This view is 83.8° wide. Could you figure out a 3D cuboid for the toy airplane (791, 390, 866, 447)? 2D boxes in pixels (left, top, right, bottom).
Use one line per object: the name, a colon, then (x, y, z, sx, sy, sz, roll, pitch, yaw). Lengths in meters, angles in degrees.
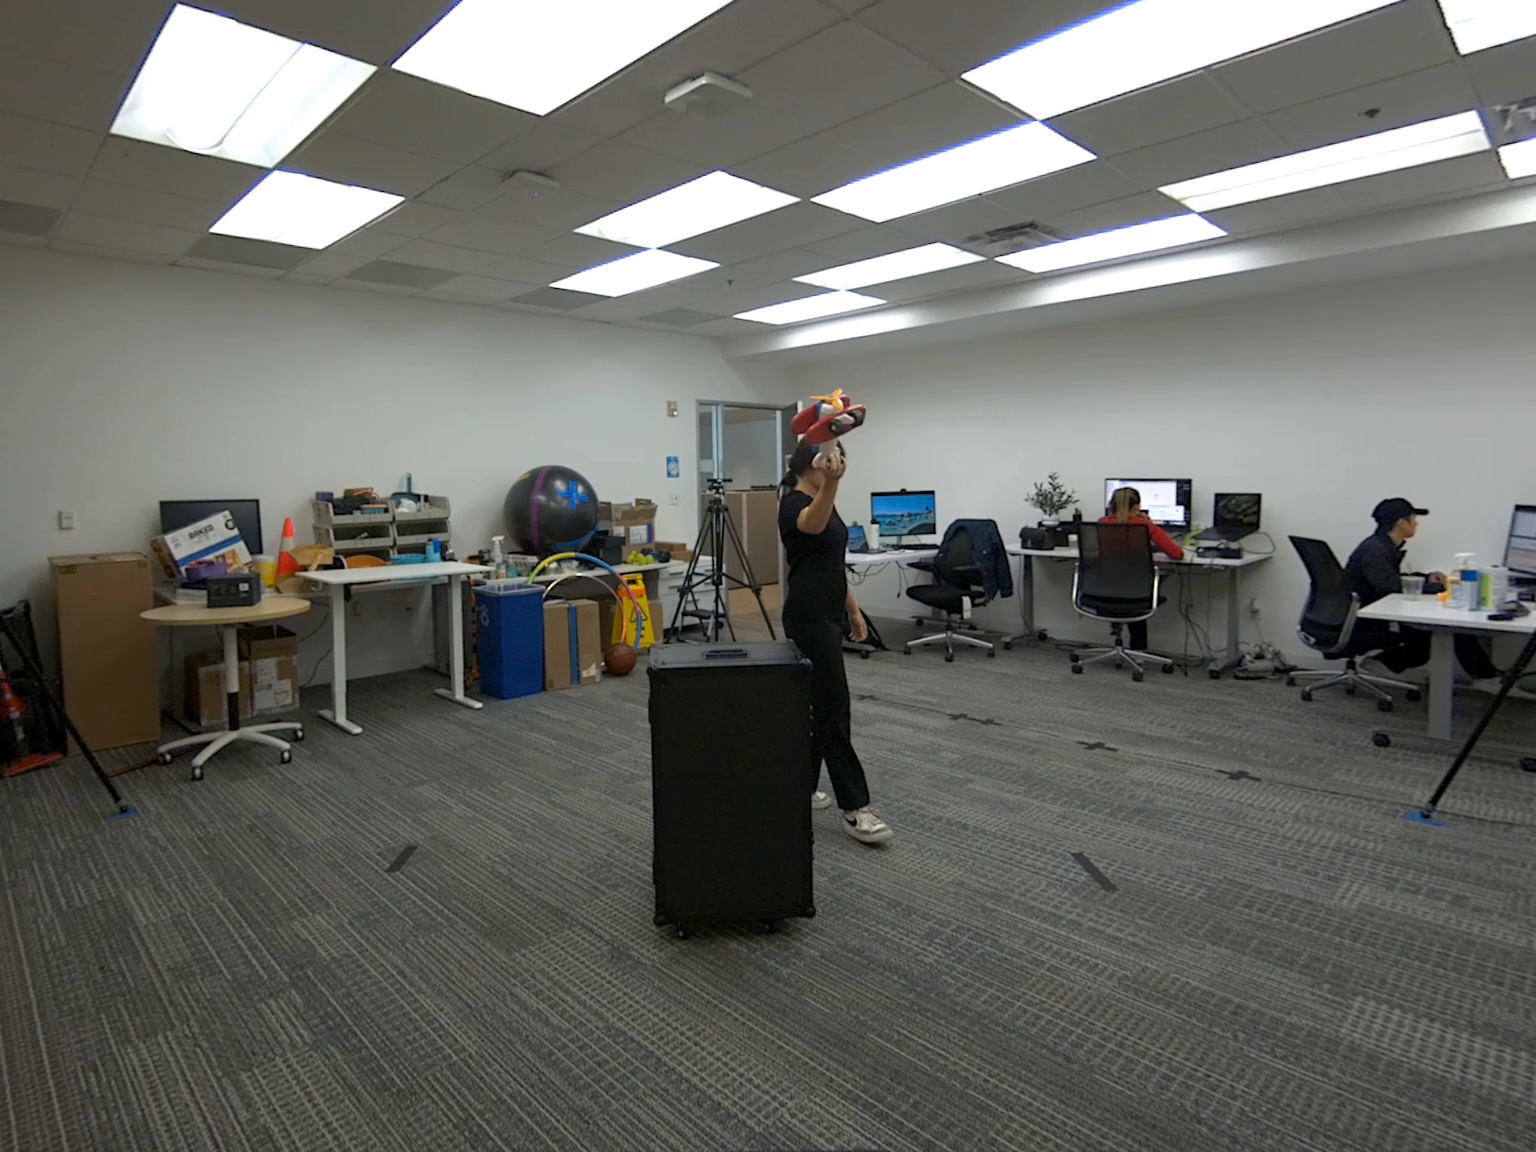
toy airplane: (0.196, -0.478, 2.840, 0.244, 0.258, 0.161, -4, 48, -51)
